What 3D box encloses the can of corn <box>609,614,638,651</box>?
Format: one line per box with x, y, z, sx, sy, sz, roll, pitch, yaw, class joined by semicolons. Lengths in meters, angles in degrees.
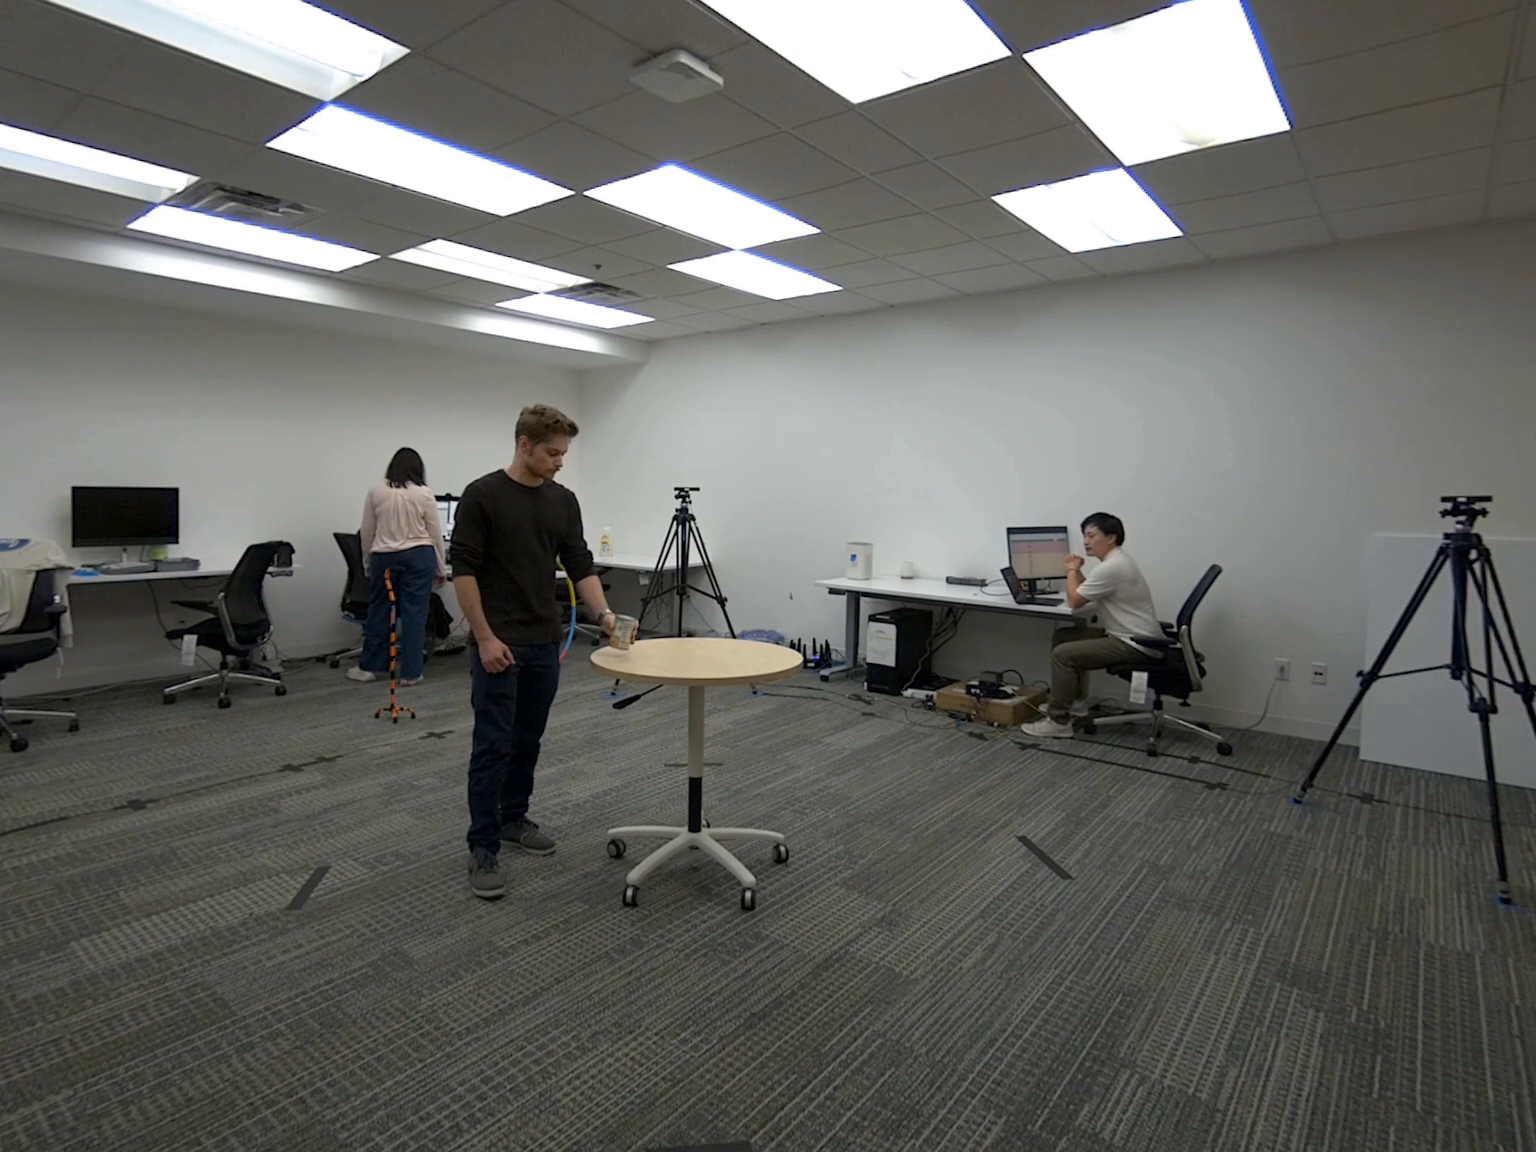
-0.540;0.199;3.054;0.074;0.111;0.074;11;4;-3;can of corn
